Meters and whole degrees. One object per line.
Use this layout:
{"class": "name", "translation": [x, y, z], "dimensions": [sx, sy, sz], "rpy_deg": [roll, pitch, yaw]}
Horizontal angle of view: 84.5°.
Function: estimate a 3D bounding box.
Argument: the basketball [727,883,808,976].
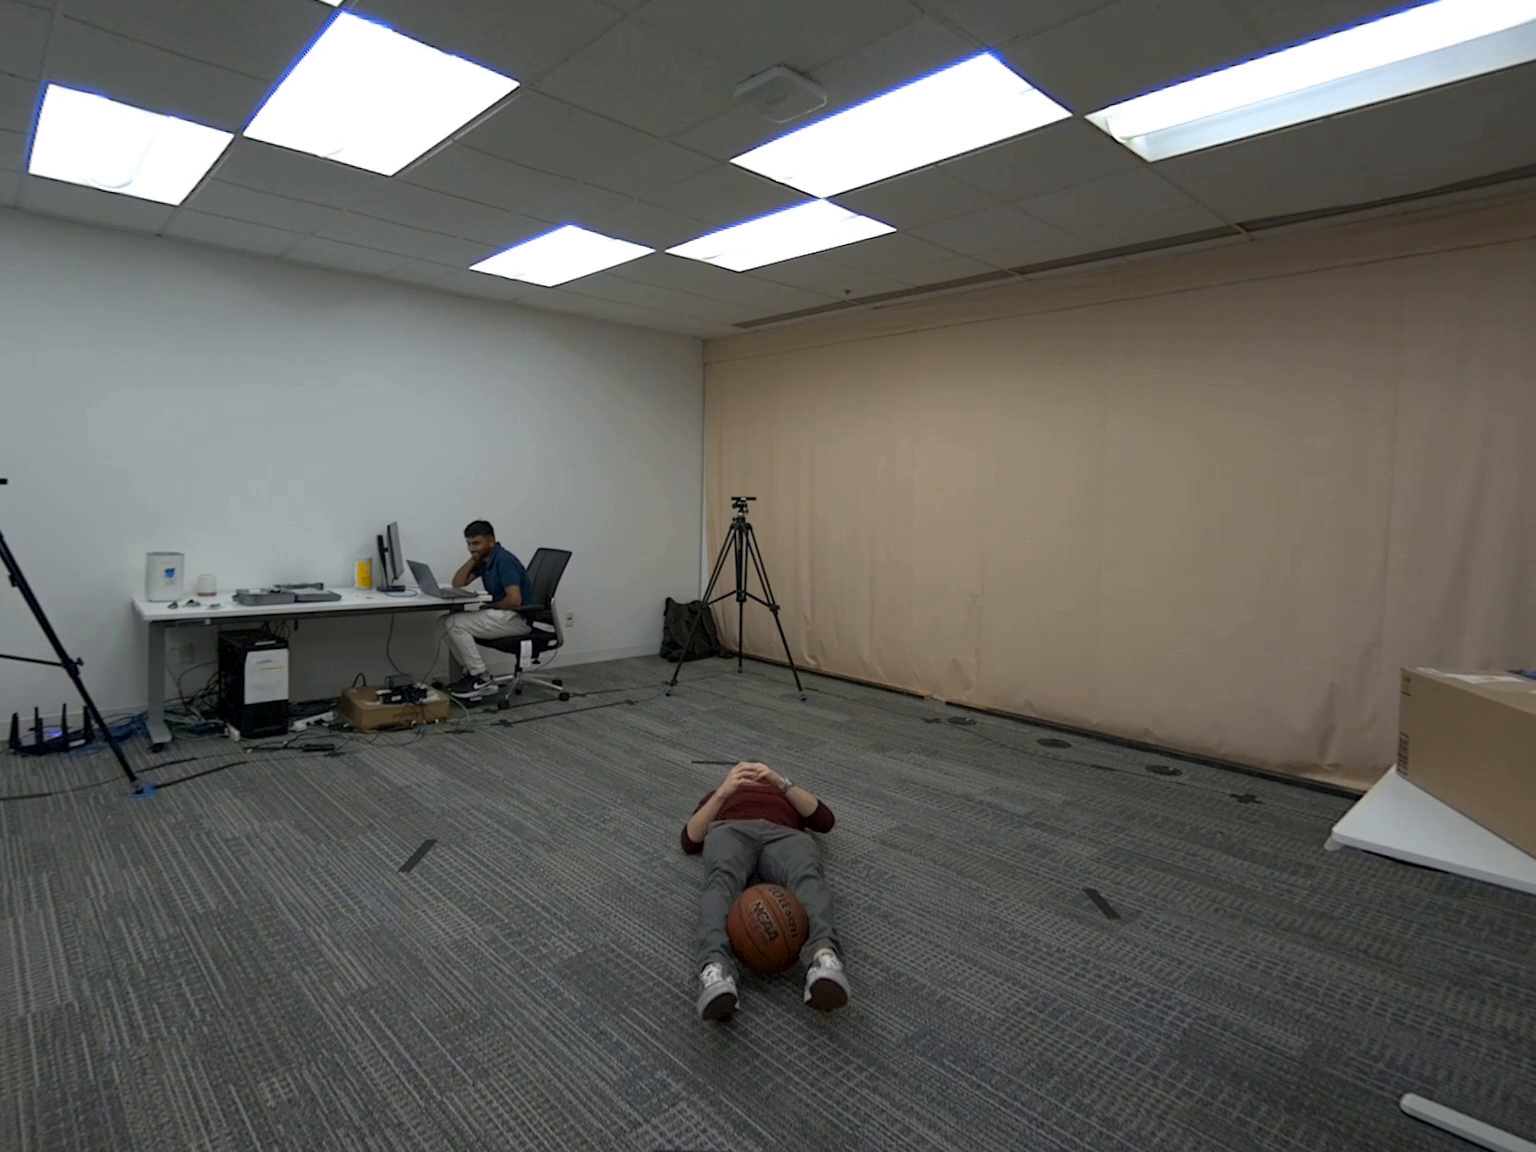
{"class": "basketball", "translation": [-0.005, 1.005, 2.445], "dimensions": [0.236, 0.235, 0.237], "rpy_deg": [1, 4, -1]}
